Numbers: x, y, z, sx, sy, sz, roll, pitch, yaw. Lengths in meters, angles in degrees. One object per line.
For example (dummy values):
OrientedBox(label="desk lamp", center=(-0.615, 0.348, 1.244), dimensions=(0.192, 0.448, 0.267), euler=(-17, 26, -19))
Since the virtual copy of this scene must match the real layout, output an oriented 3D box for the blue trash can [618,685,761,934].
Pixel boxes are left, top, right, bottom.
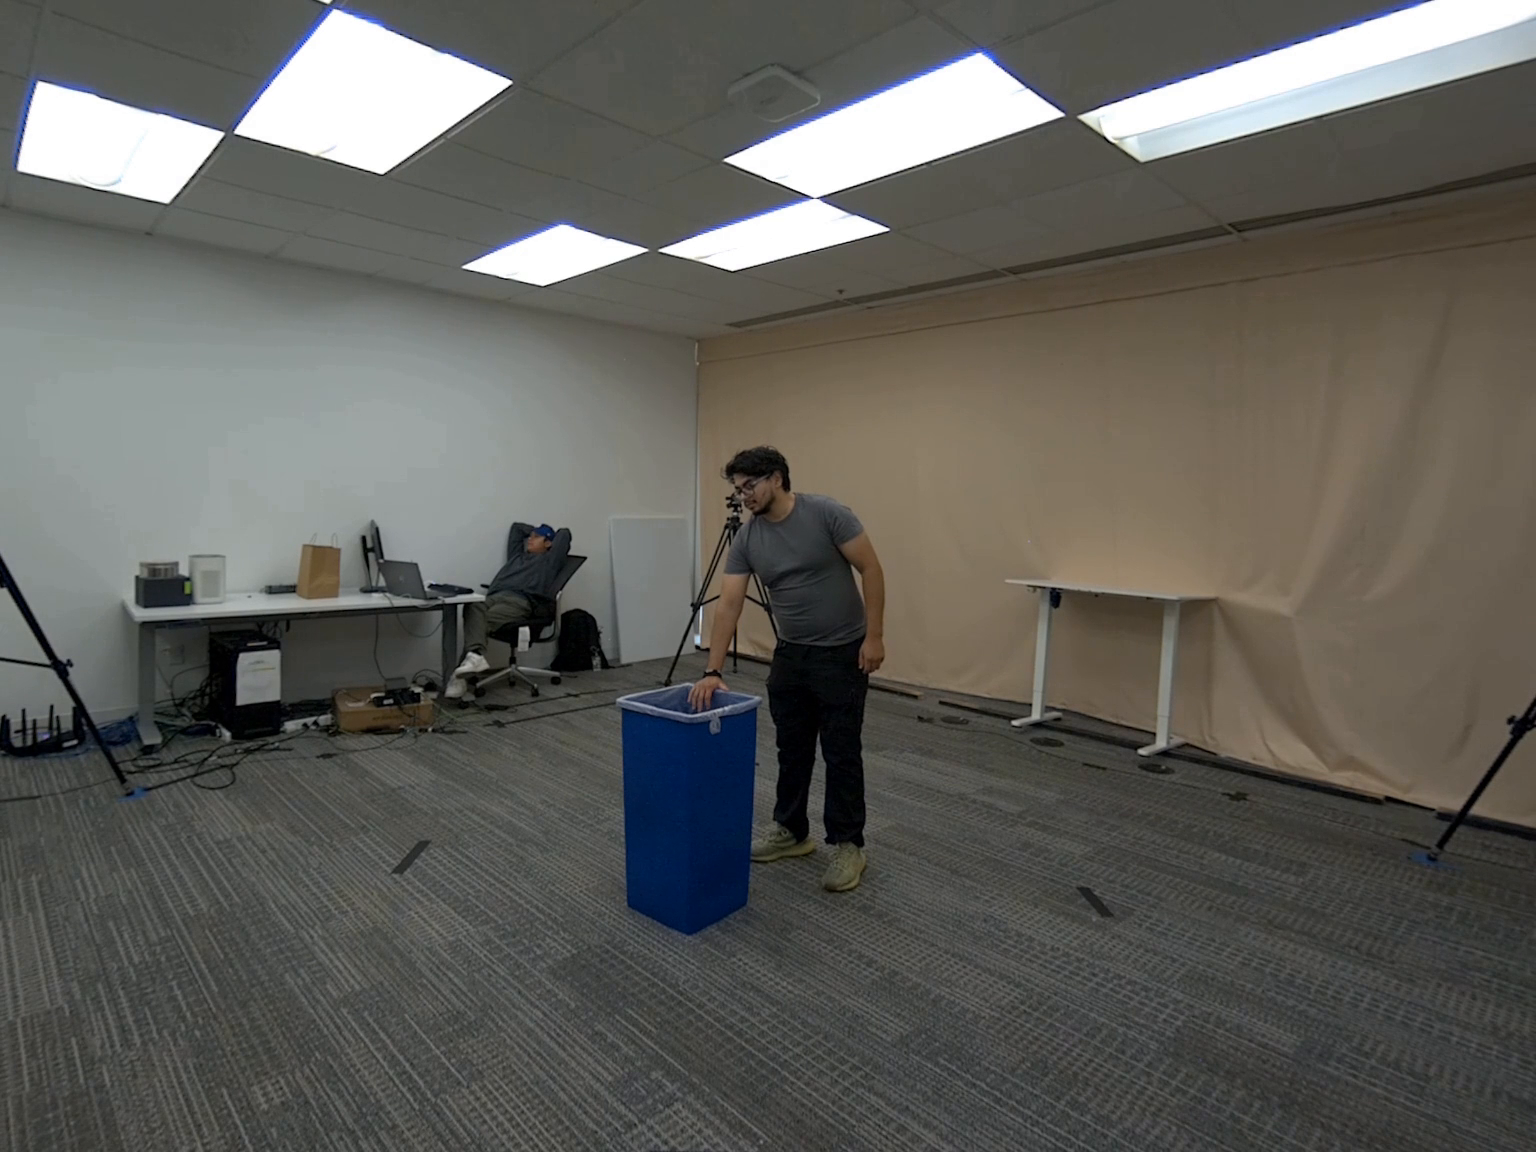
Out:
OrientedBox(label="blue trash can", center=(-0.283, 0.767, 2.862), dimensions=(0.383, 0.712, 0.369), euler=(4, 4, 40))
